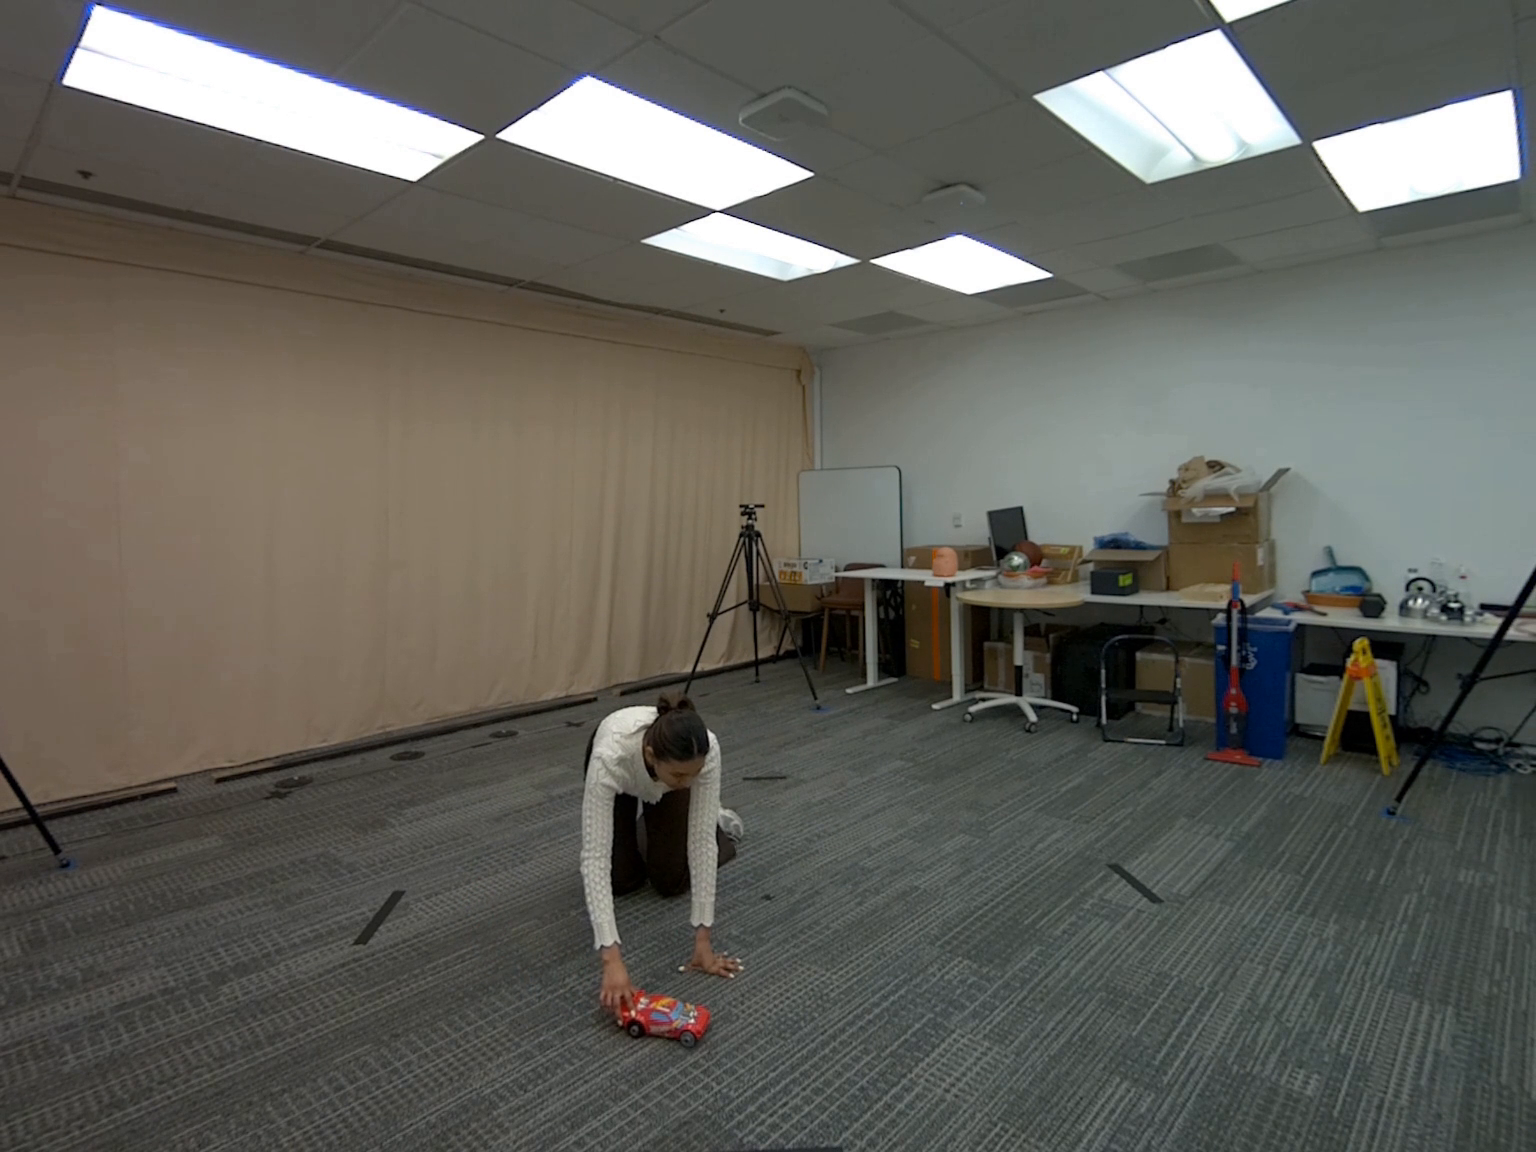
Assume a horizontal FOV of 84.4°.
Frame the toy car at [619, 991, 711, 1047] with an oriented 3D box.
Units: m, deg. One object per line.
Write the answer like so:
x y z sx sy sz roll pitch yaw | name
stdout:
-0.286 1.172 2.248 0.259 0.083 0.128 9 8 16 | toy car
